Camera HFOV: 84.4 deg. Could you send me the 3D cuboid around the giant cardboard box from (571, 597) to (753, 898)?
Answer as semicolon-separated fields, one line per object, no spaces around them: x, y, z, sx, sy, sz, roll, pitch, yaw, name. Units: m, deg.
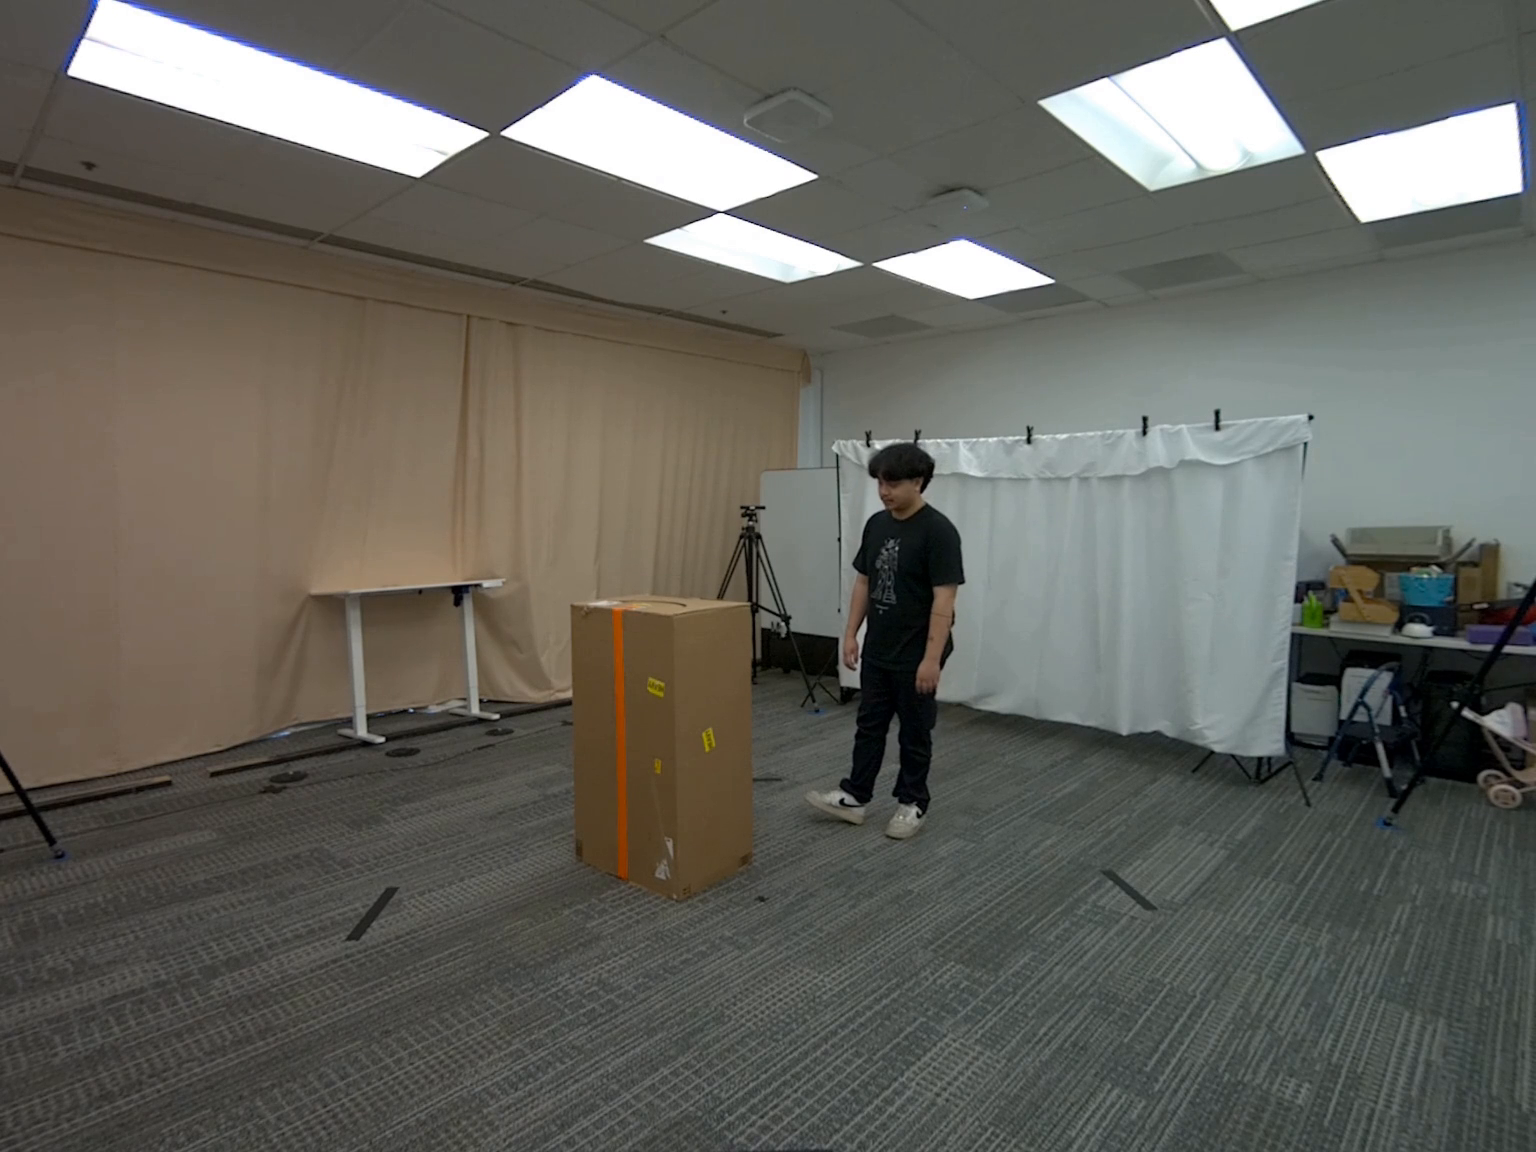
-0.416;0.612;3.281;0.603;1.025;0.433;2;4;41;giant cardboard box
